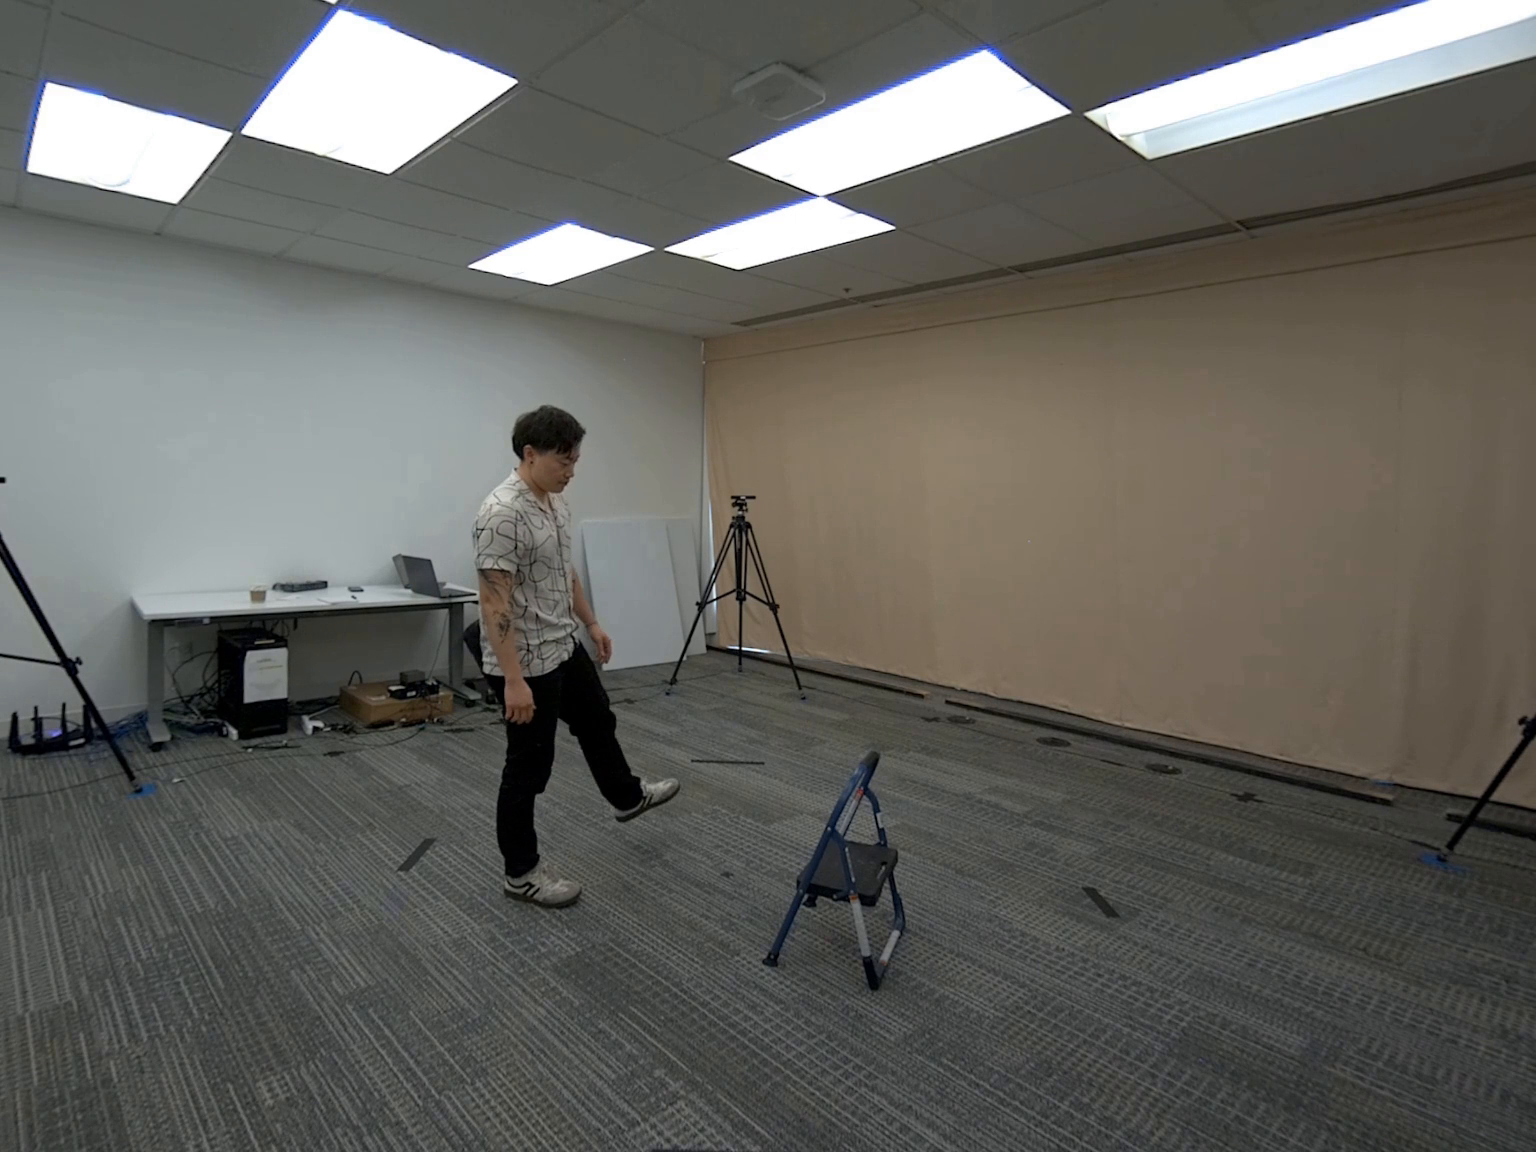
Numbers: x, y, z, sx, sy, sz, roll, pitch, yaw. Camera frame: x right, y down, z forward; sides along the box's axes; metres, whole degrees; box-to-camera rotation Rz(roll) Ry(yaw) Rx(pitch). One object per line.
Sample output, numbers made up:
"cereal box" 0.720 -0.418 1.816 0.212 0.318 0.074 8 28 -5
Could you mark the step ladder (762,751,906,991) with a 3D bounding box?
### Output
"step ladder" 0.227 0.856 2.615 0.355 0.604 0.424 3 4 21
